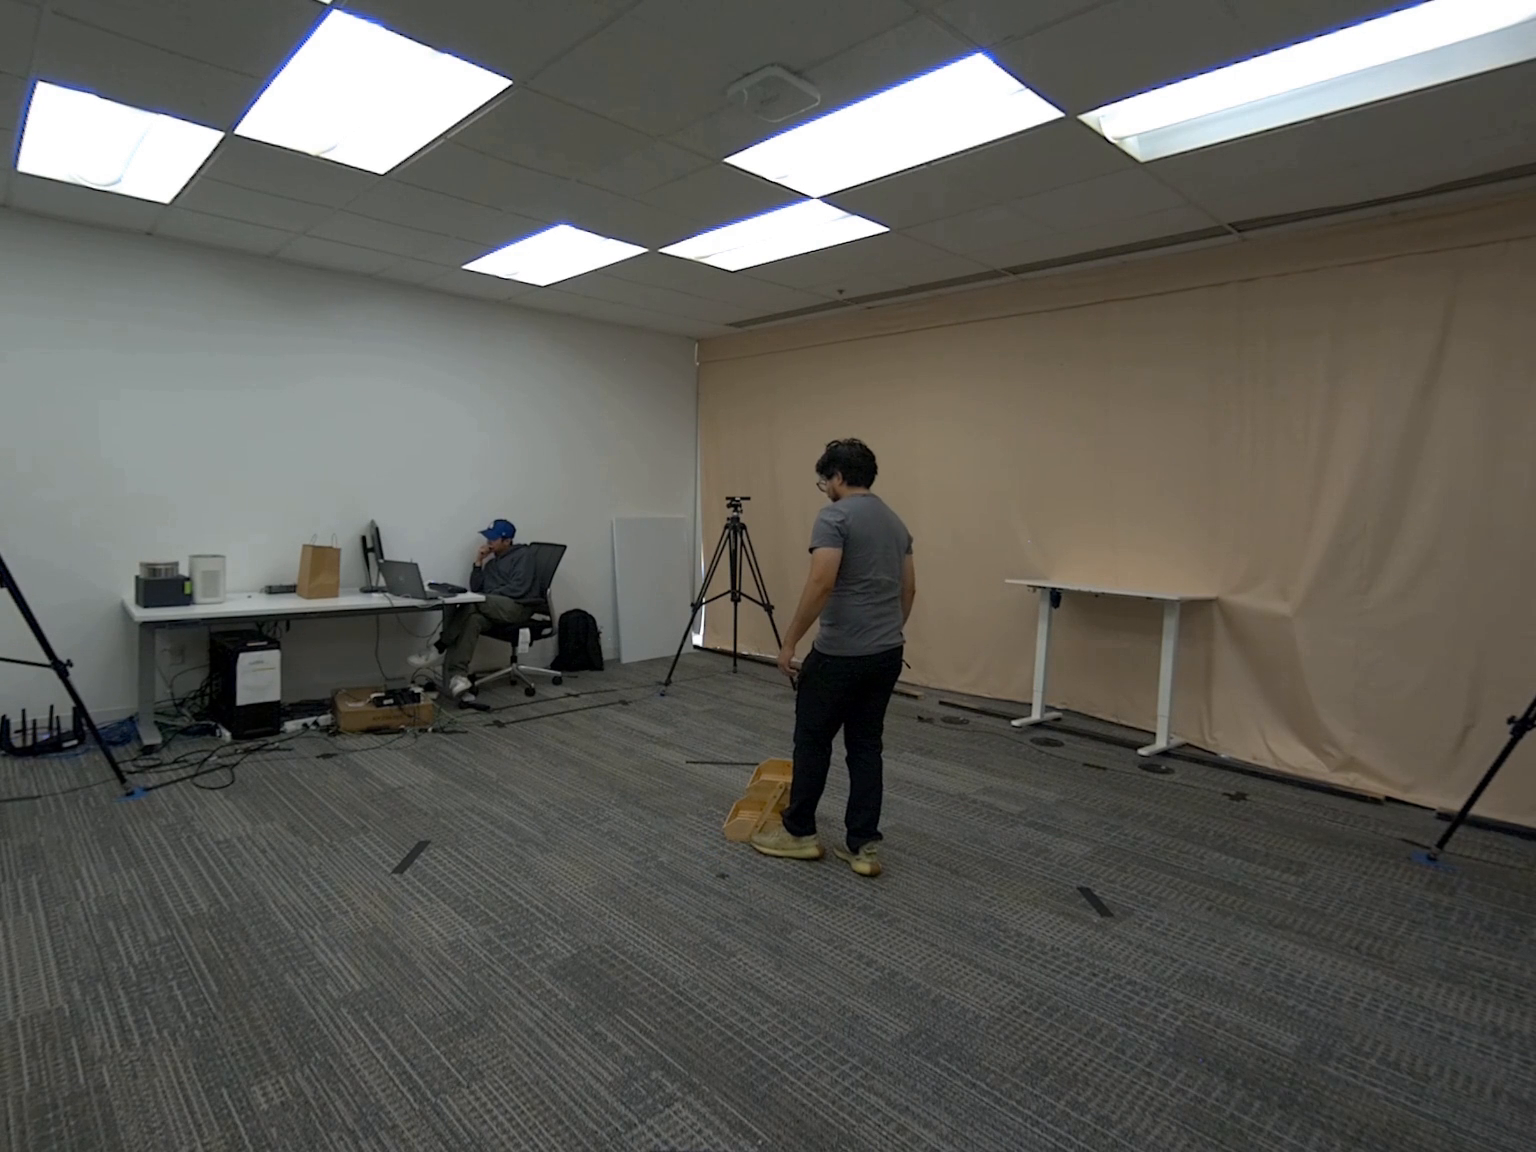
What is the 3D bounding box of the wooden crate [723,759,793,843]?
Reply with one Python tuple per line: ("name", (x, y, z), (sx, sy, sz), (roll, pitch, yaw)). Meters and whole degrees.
("wooden crate", (-0.032, 0.944, 3.562), (0.304, 0.273, 0.323), (1, 4, 8))
